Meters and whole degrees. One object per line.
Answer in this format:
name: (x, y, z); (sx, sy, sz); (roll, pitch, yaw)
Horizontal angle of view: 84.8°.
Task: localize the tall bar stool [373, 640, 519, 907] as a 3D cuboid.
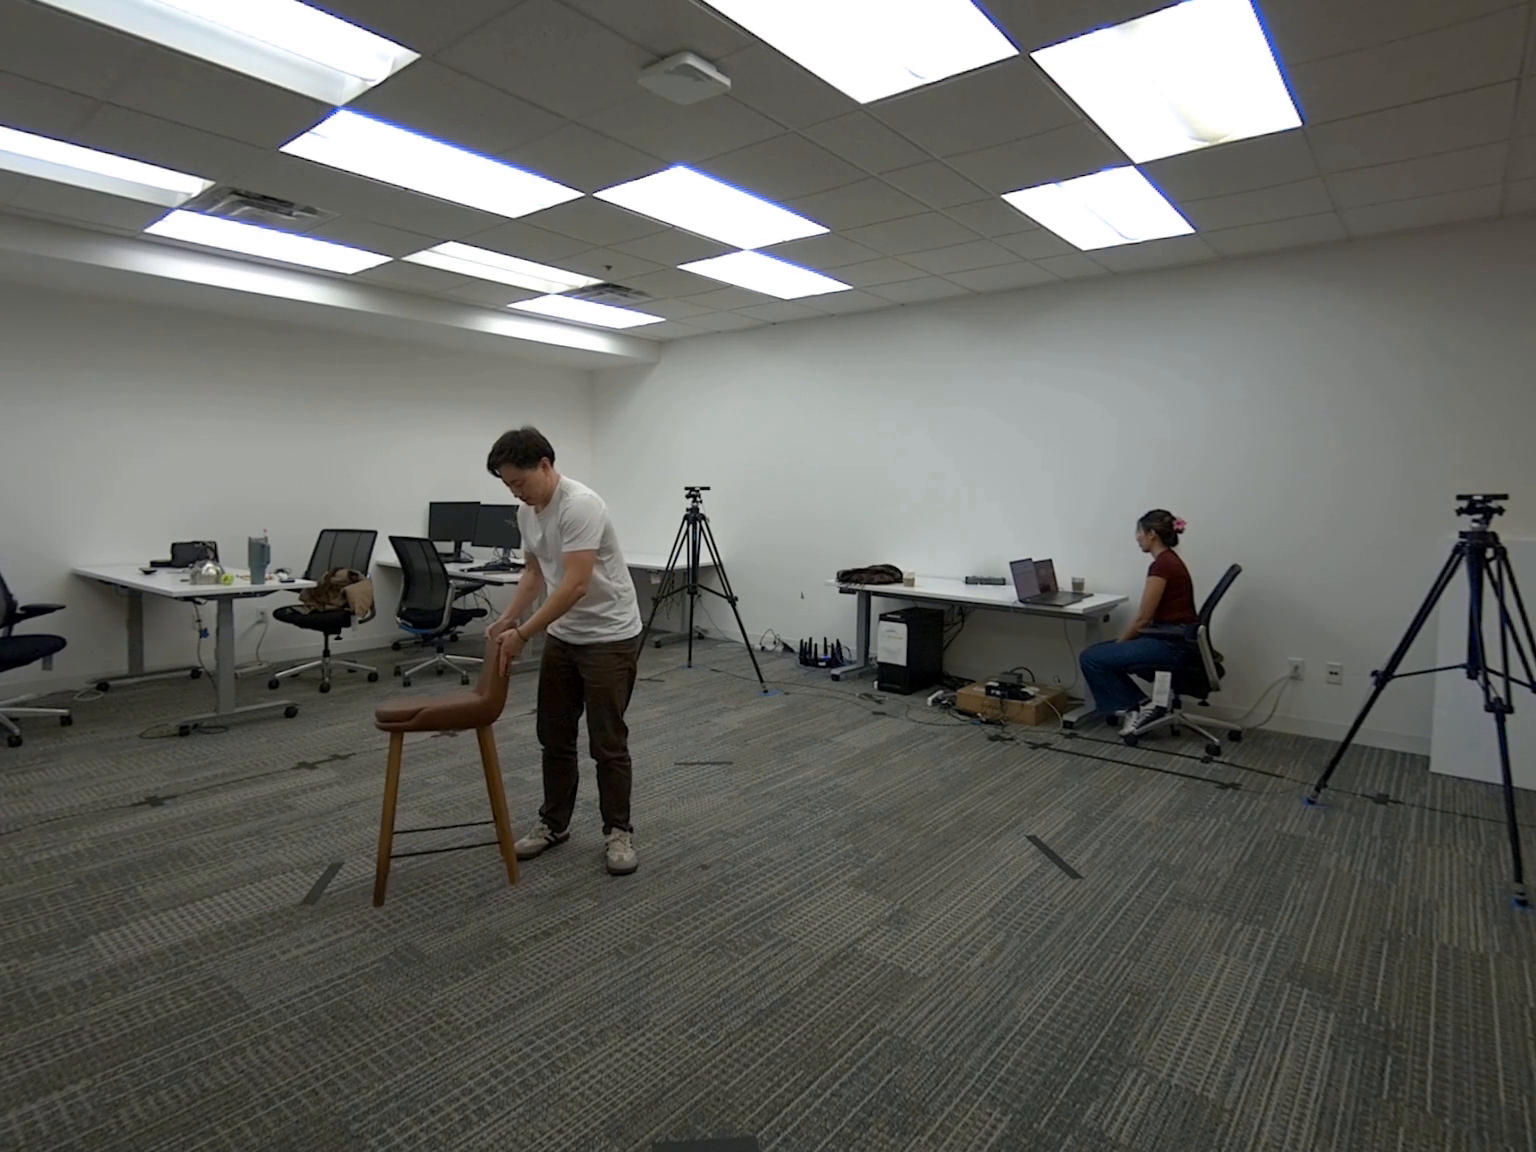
tall bar stool: (-1.131, 0.609, 2.958); (0.458, 0.895, 0.463); (0, -6, -20)
